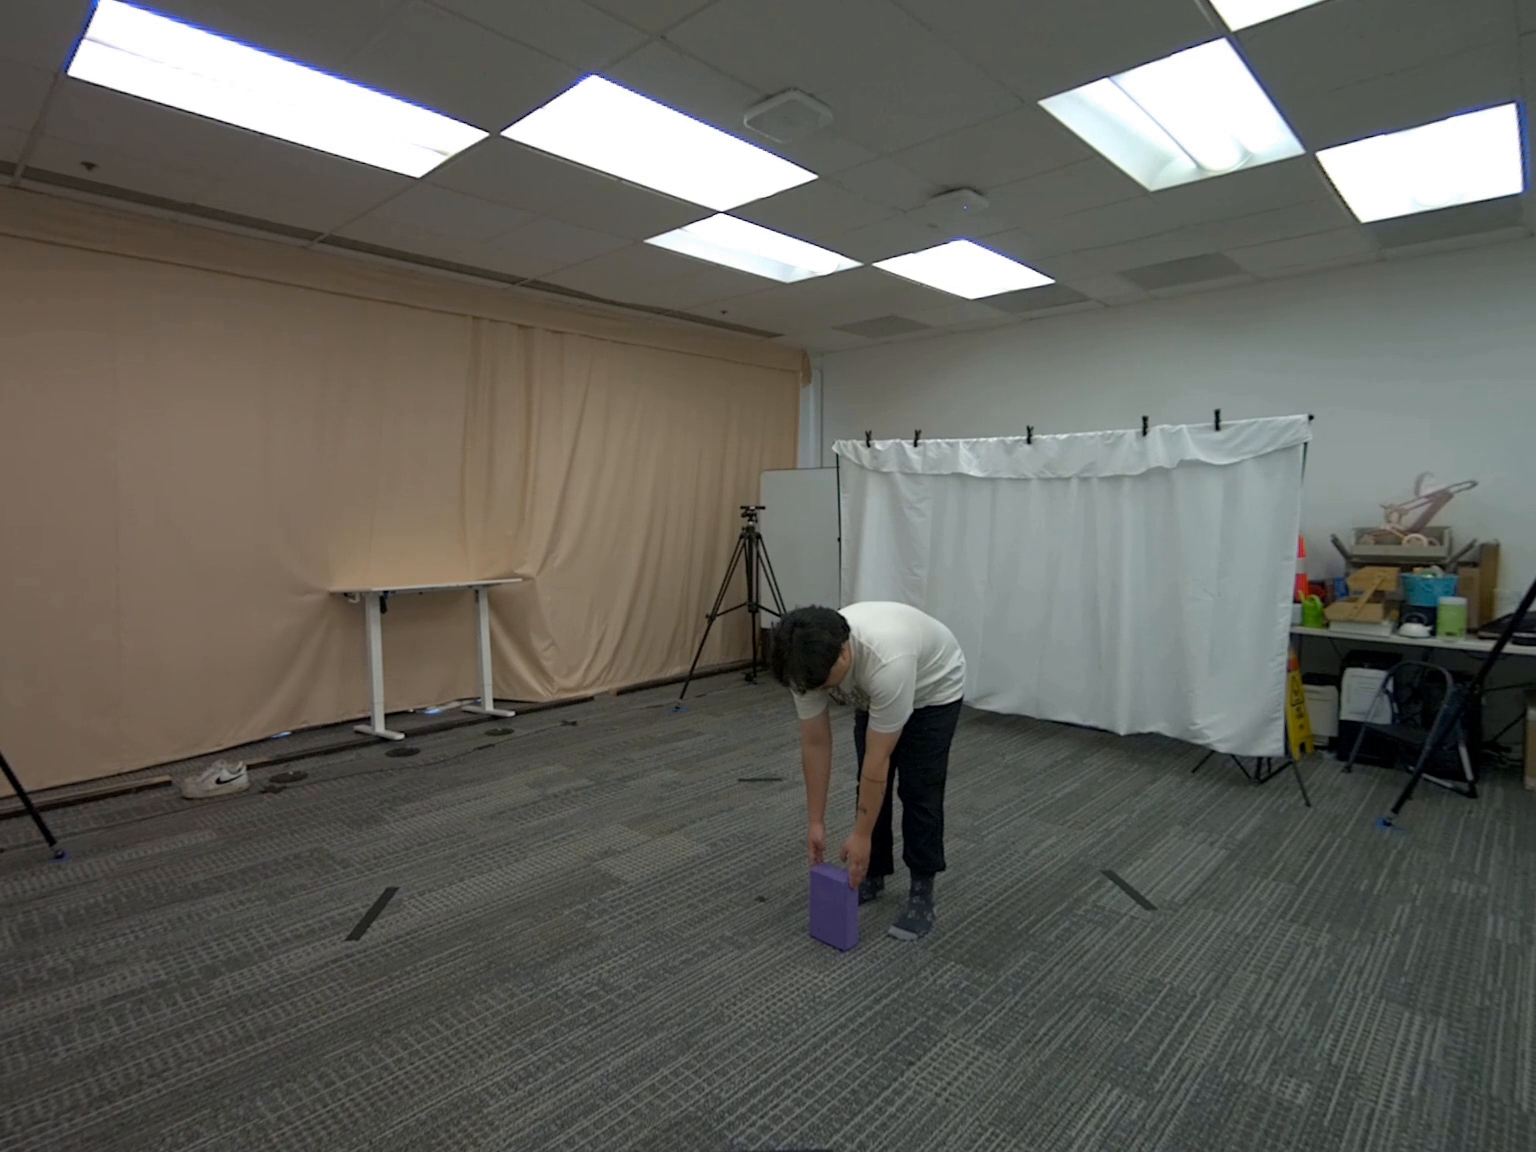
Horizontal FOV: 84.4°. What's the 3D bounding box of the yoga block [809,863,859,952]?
[{"bbox_3d":[0.219,1.059,2.687,0.154,0.229,0.074,6,4,42],"label":"yoga block"}]
